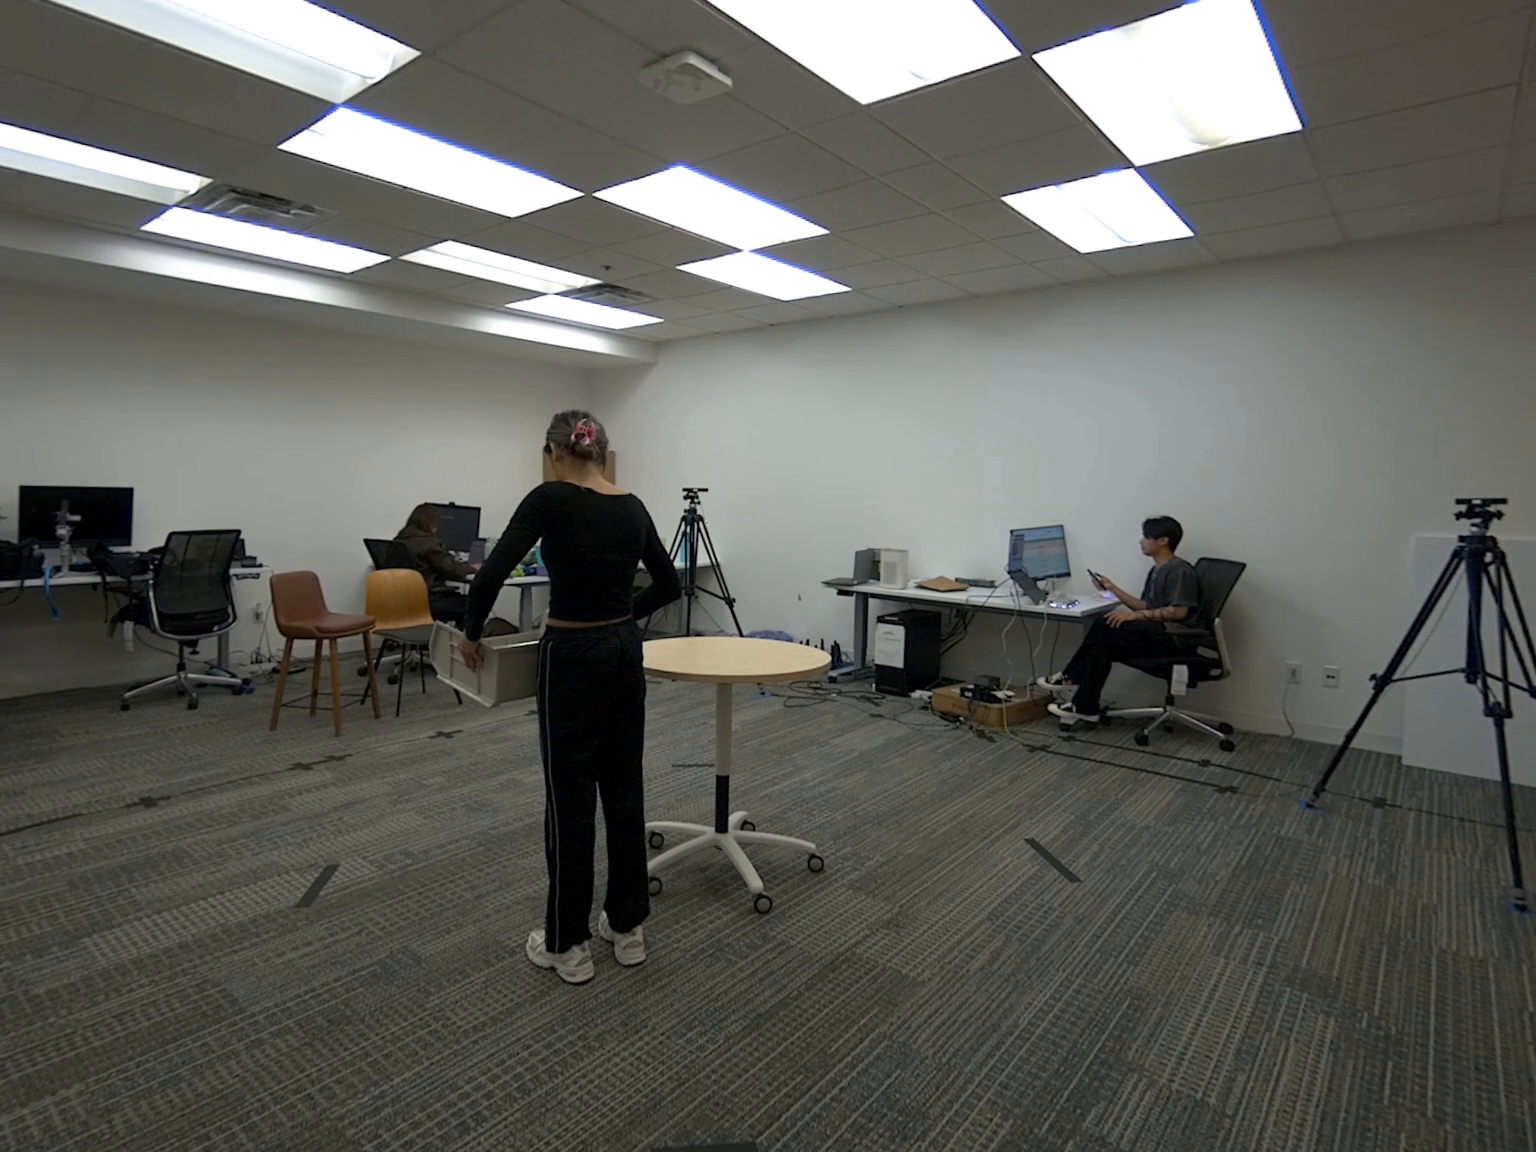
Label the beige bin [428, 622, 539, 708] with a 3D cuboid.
[{"bbox_3d":[-0.793,0.235,2.668,0.392,0.187,0.410,16,13,40],"label":"beige bin"}]
